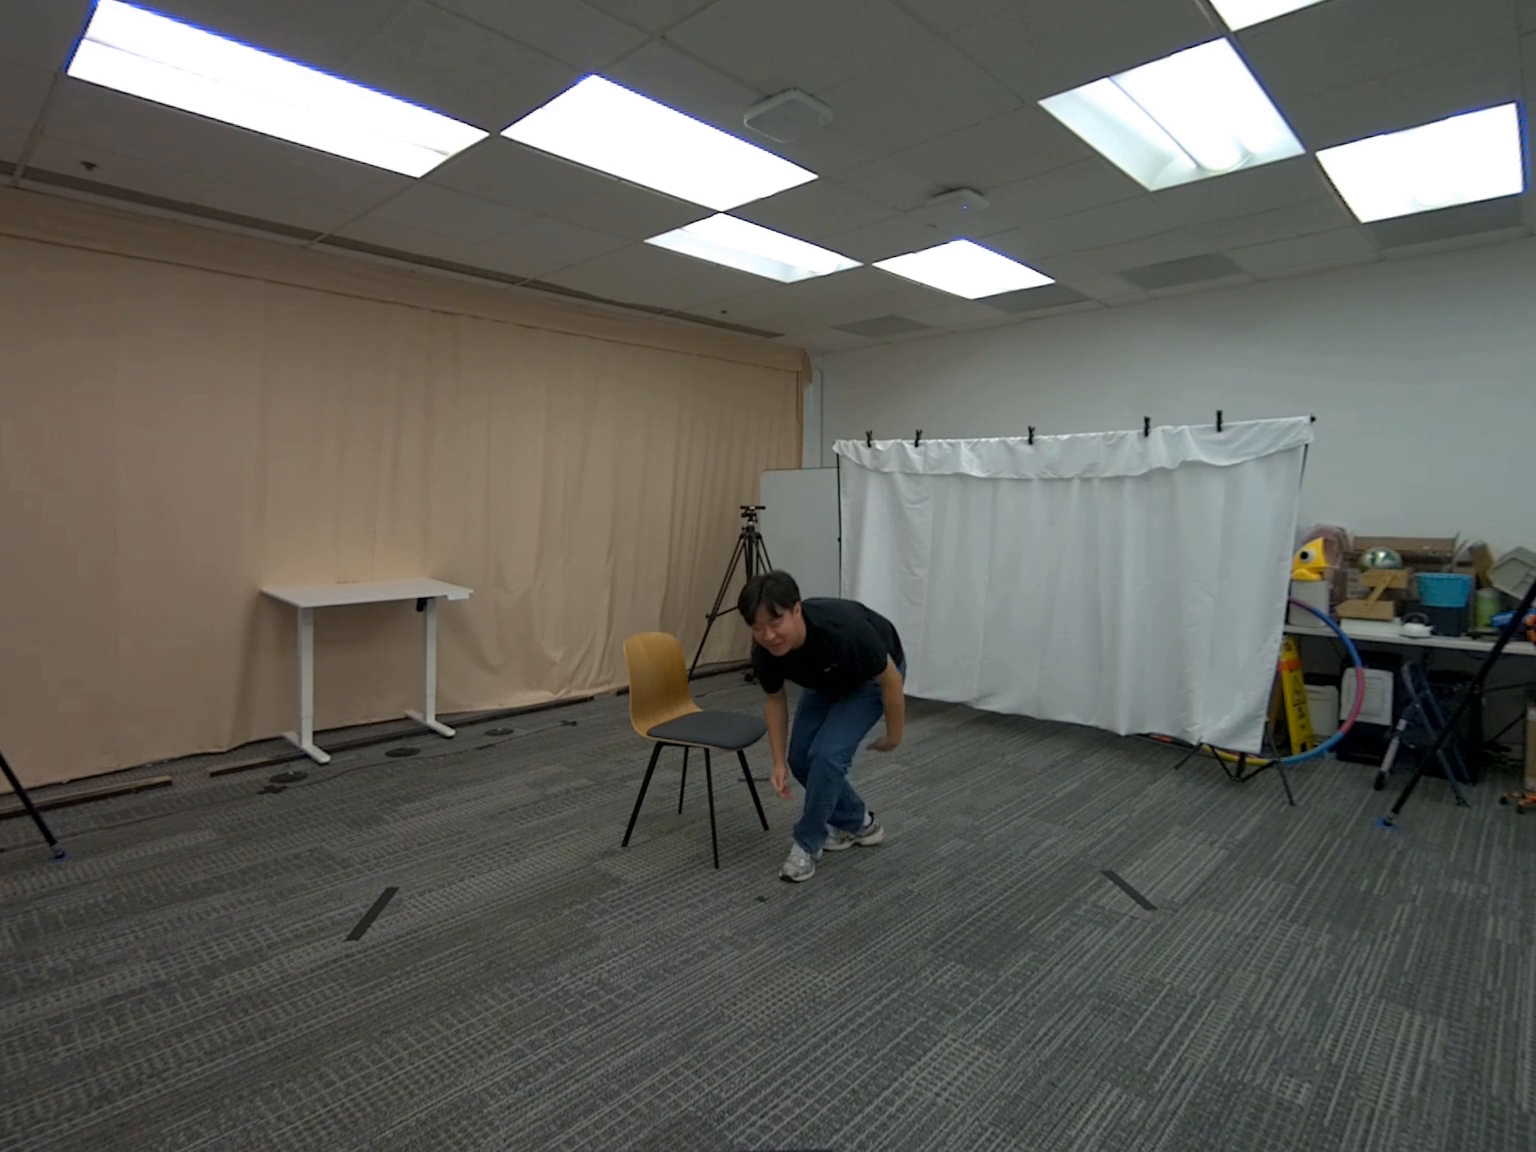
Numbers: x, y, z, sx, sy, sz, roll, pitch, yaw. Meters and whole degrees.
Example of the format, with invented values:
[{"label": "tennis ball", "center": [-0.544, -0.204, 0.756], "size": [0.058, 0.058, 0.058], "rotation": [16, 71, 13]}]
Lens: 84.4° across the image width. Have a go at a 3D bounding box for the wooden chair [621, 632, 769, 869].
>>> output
[{"label": "wooden chair", "center": [-0.293, 0.677, 3.502], "size": [0.537, 0.877, 0.466], "rotation": [-3, 1, 29]}]
